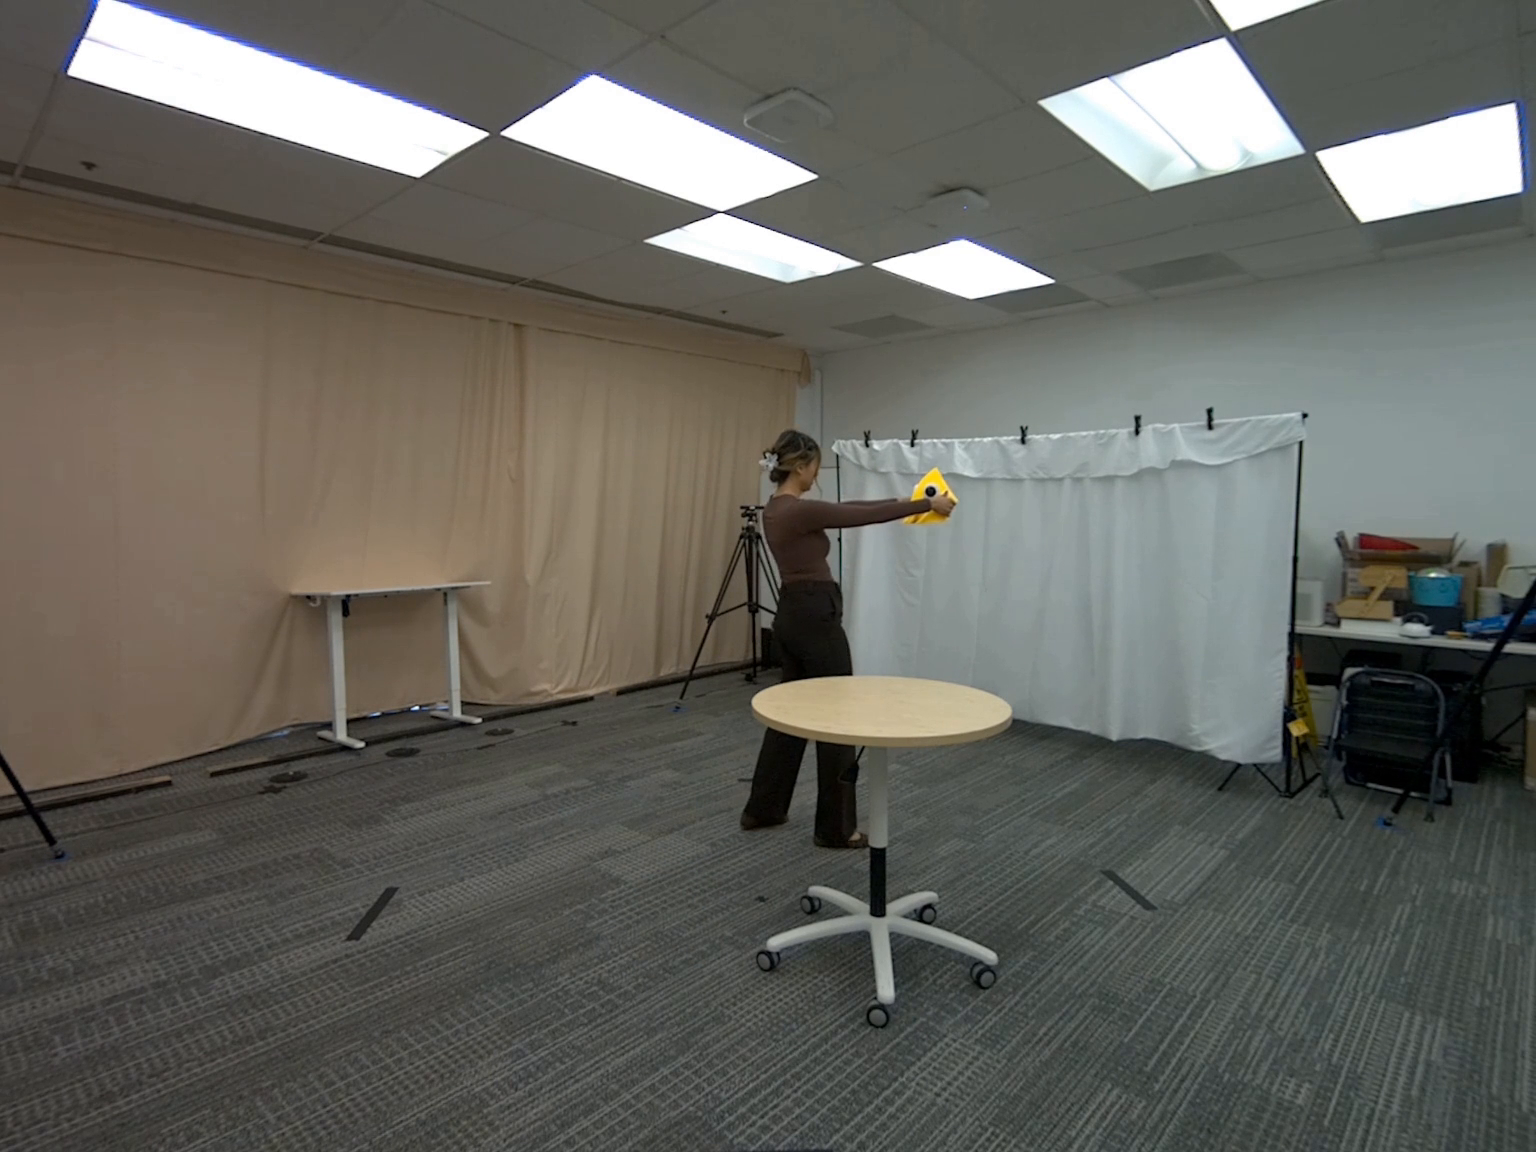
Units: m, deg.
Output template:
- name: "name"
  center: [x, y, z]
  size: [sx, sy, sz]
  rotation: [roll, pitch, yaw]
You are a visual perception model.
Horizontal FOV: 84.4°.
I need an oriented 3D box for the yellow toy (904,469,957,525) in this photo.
- name: "yellow toy"
  center: [0.683, -0.346, 3.622]
  size: [0.190, 0.230, 0.209]
  rotation: [-7, 5, -17]
